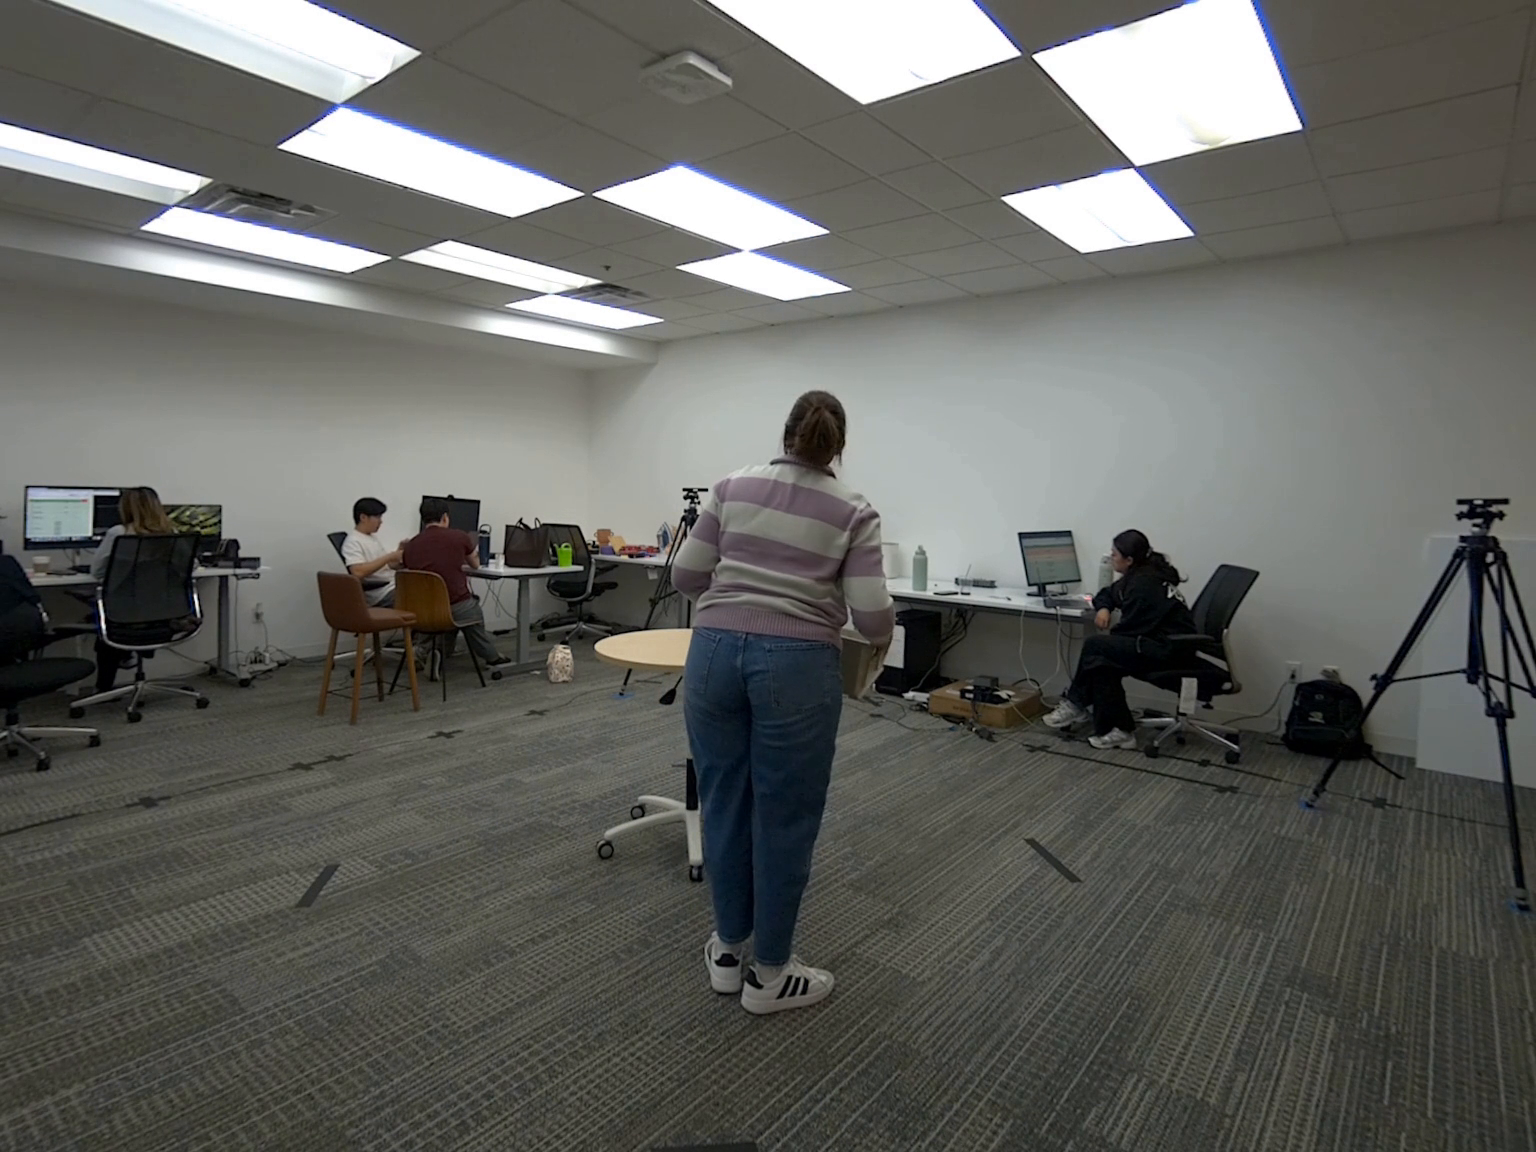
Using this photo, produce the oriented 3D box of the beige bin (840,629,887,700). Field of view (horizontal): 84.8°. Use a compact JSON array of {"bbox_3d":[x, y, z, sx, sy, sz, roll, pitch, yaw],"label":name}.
[{"bbox_3d":[0.134,0.194,2.639,0.433,0.187,0.372,12,16,21],"label":"beige bin"}]
